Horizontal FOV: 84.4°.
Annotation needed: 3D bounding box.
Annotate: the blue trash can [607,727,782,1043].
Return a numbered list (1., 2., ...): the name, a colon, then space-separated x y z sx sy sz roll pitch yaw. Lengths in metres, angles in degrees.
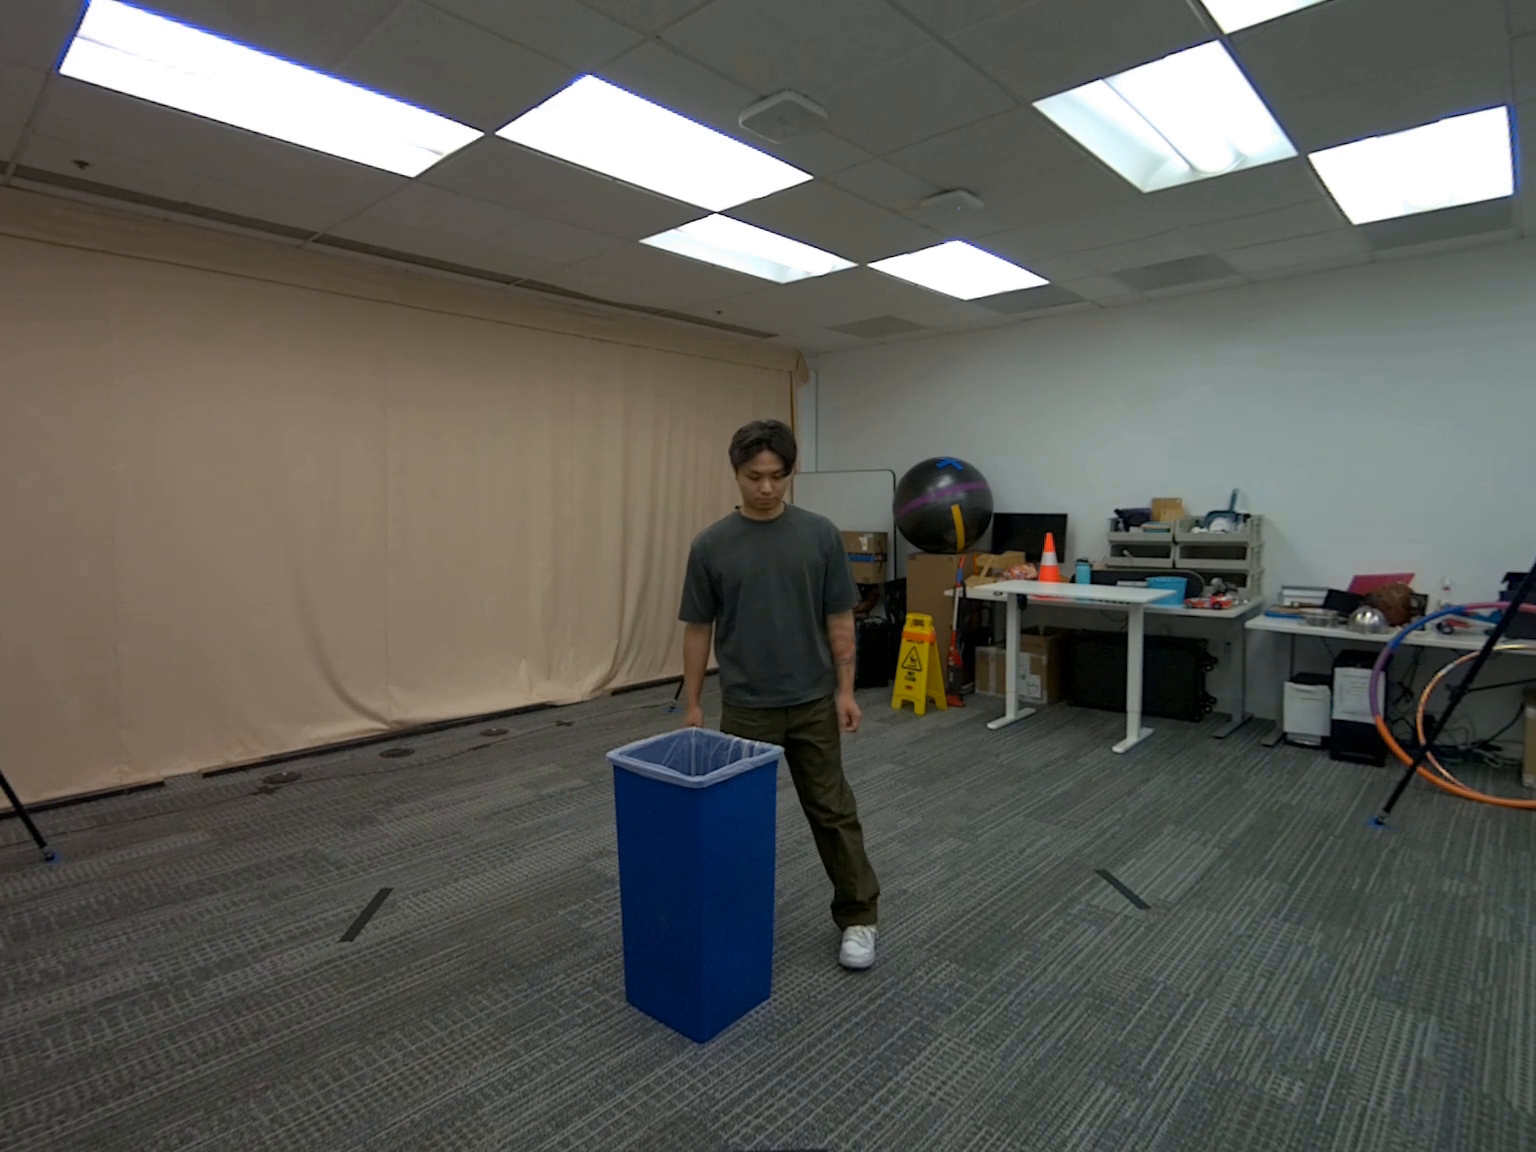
1. blue trash can: -0.193 0.845 2.355 0.386 0.712 0.367 2 5 39
